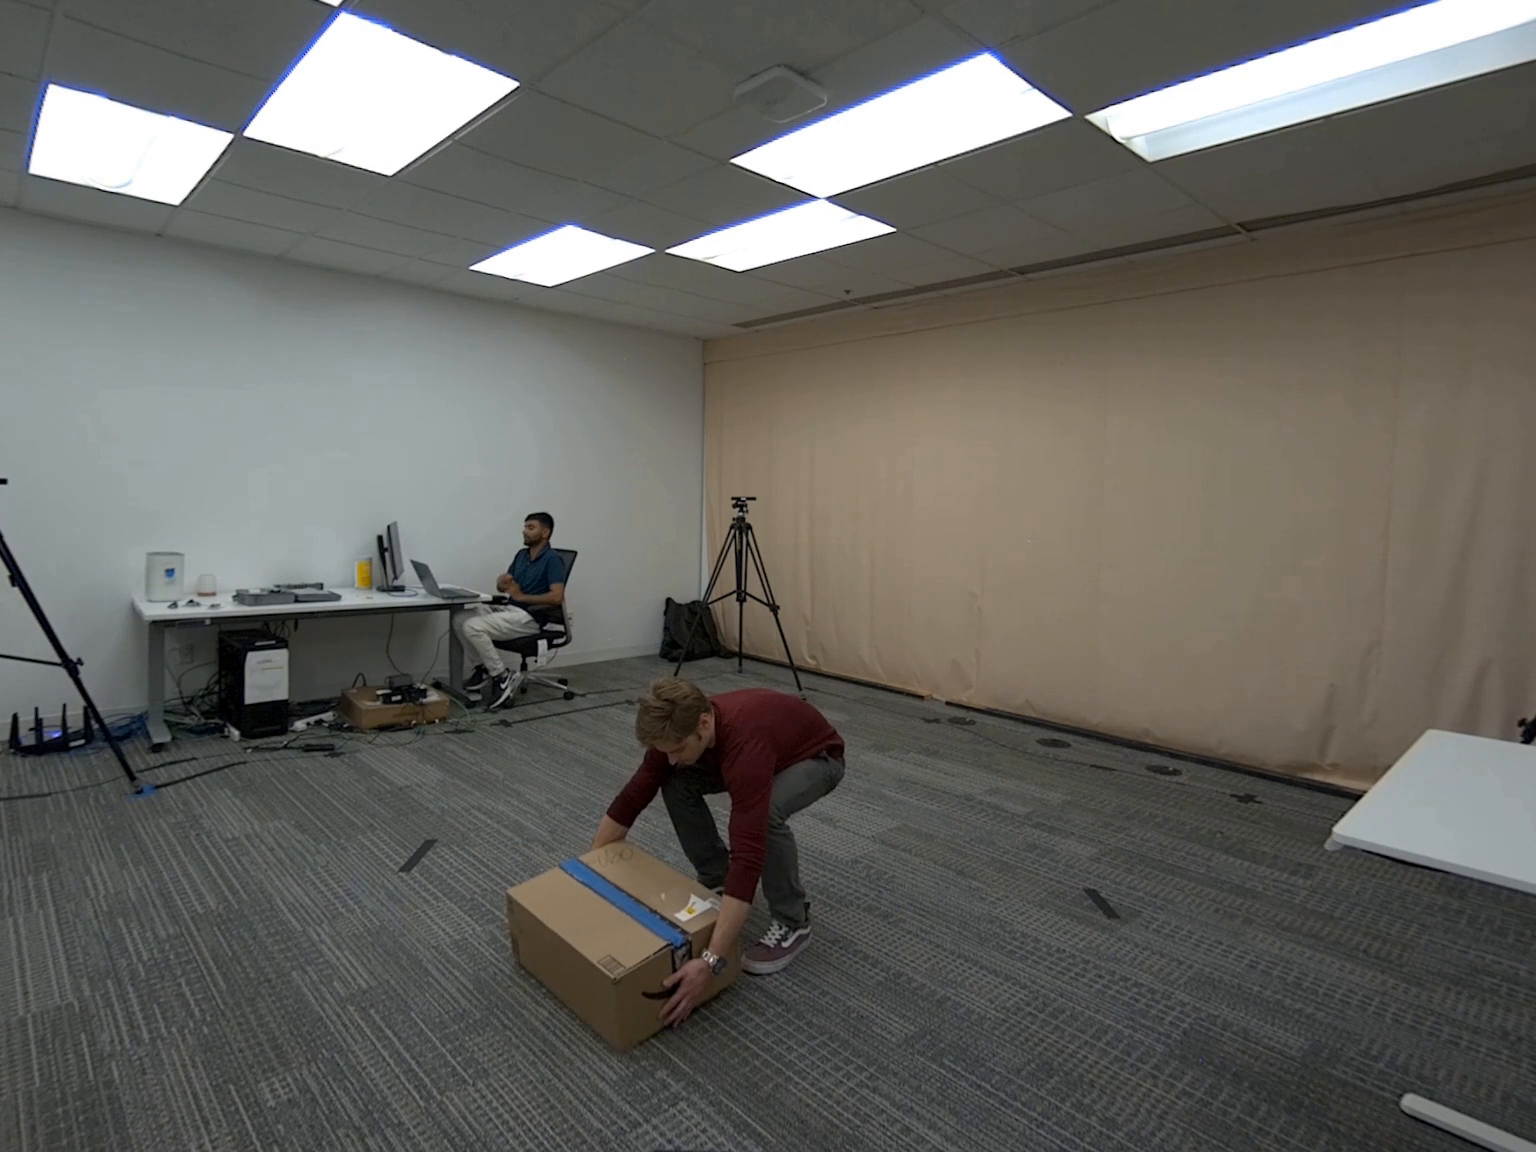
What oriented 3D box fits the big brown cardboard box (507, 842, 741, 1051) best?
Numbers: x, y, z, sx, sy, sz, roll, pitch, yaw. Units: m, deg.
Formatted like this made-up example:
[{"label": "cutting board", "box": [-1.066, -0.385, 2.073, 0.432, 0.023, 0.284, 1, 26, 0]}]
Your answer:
[{"label": "big brown cardboard box", "box": [-0.426, 1.022, 2.407, 0.410, 0.231, 0.604, -13, 14, -42]}]
